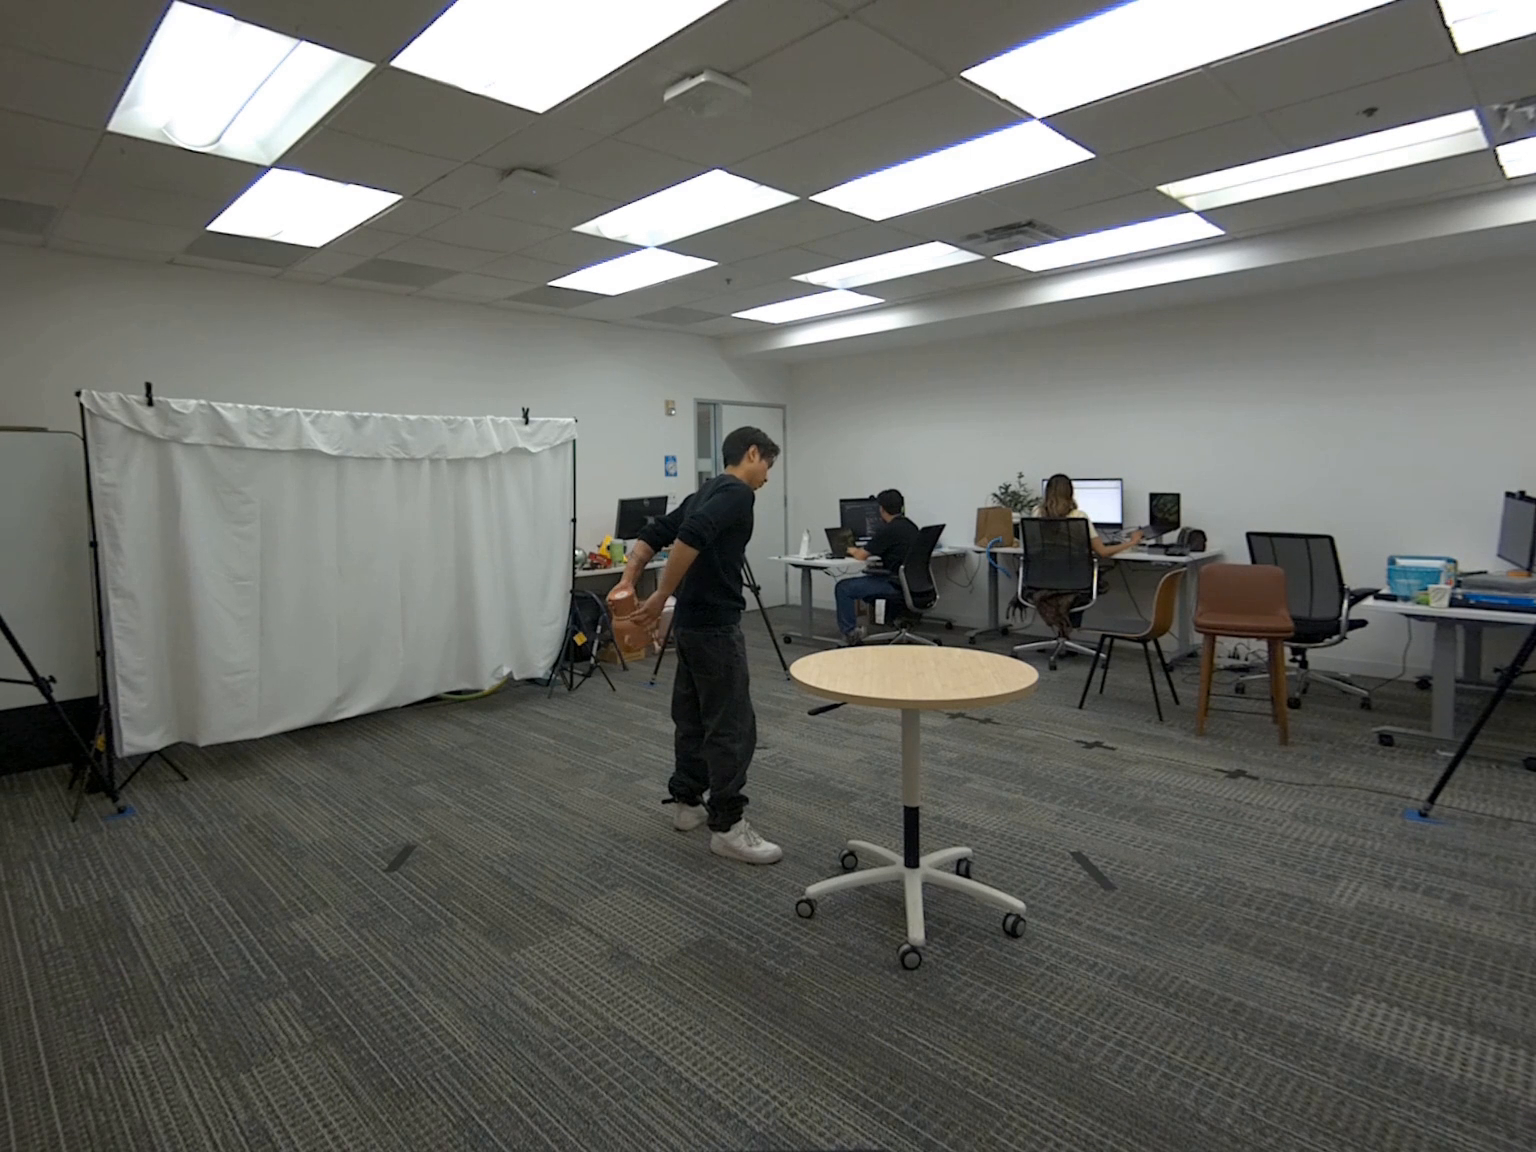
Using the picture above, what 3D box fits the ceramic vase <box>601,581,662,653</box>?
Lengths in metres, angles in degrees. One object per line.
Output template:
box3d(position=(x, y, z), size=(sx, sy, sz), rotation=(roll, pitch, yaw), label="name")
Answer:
box3d(position=(-0.531, 0.151, 3.309), size=(0.133, 0.216, 0.164), rotation=(-19, 18, -27), label="ceramic vase")
